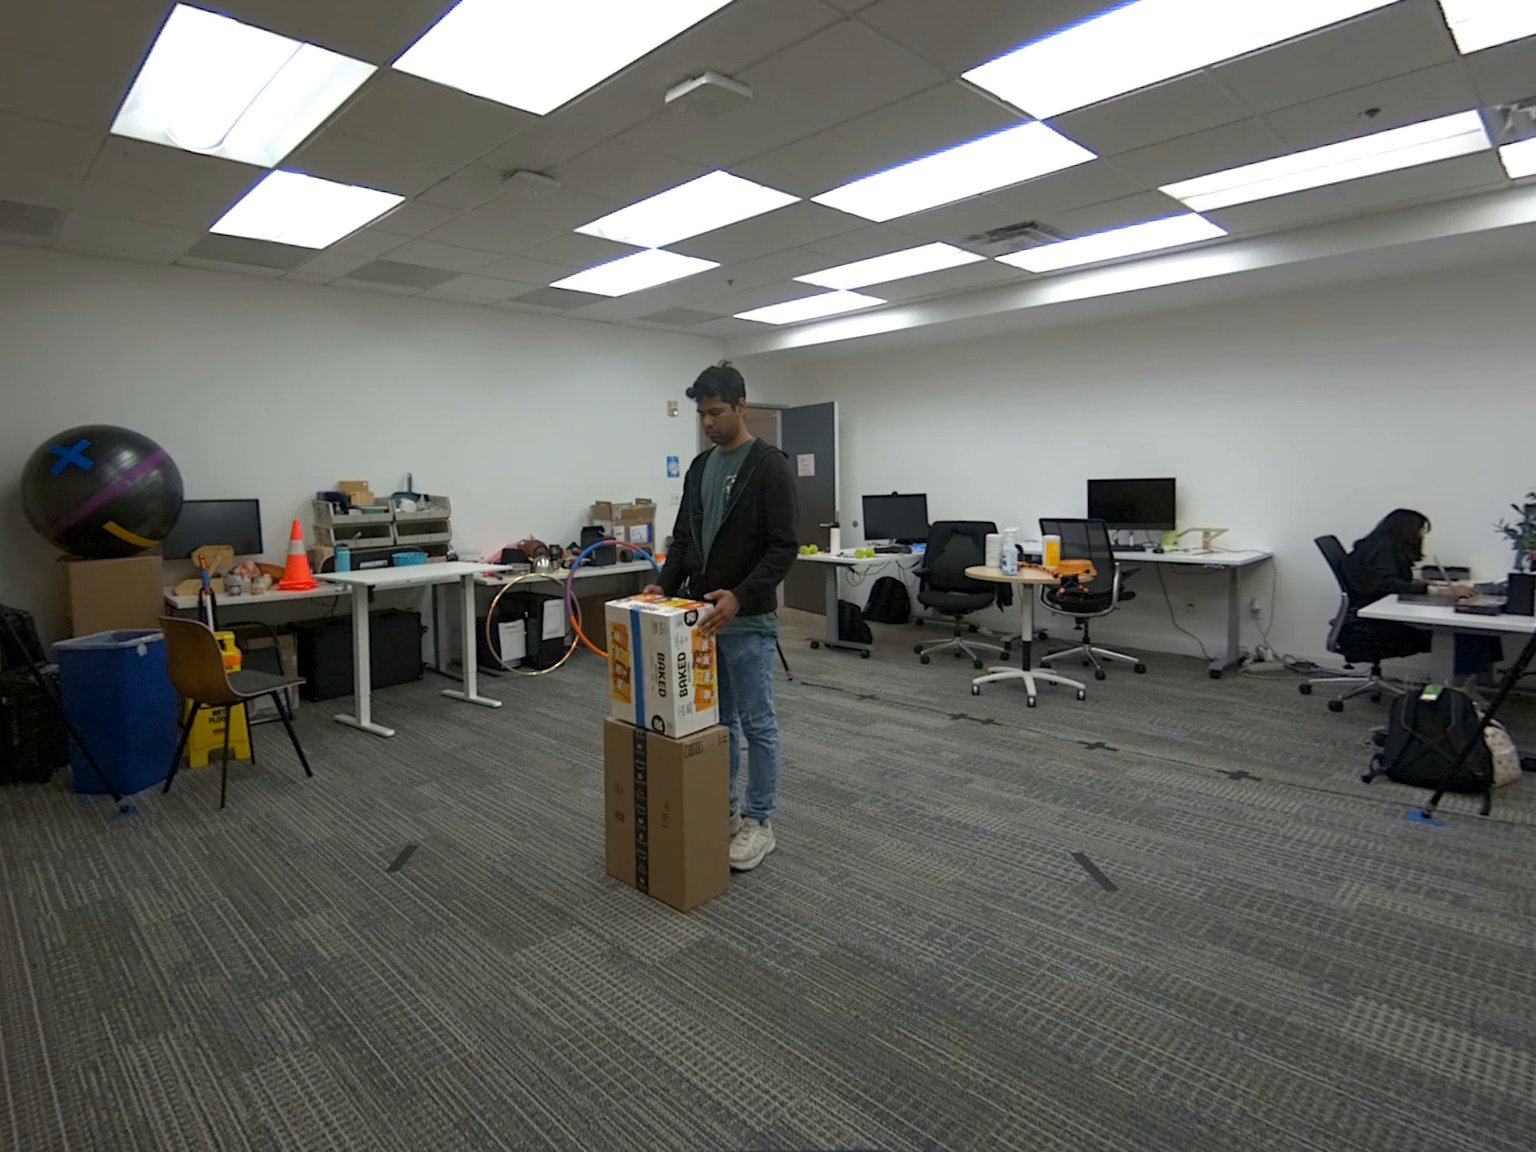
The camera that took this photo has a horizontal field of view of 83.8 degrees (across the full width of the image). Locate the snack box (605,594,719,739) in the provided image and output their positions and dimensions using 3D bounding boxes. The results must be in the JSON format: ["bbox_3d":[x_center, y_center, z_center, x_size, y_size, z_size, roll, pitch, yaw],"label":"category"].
[{"bbox_3d":[-0.361,0.279,2.909,0.351,0.402,0.201,4,10,45],"label":"snack box"}]
